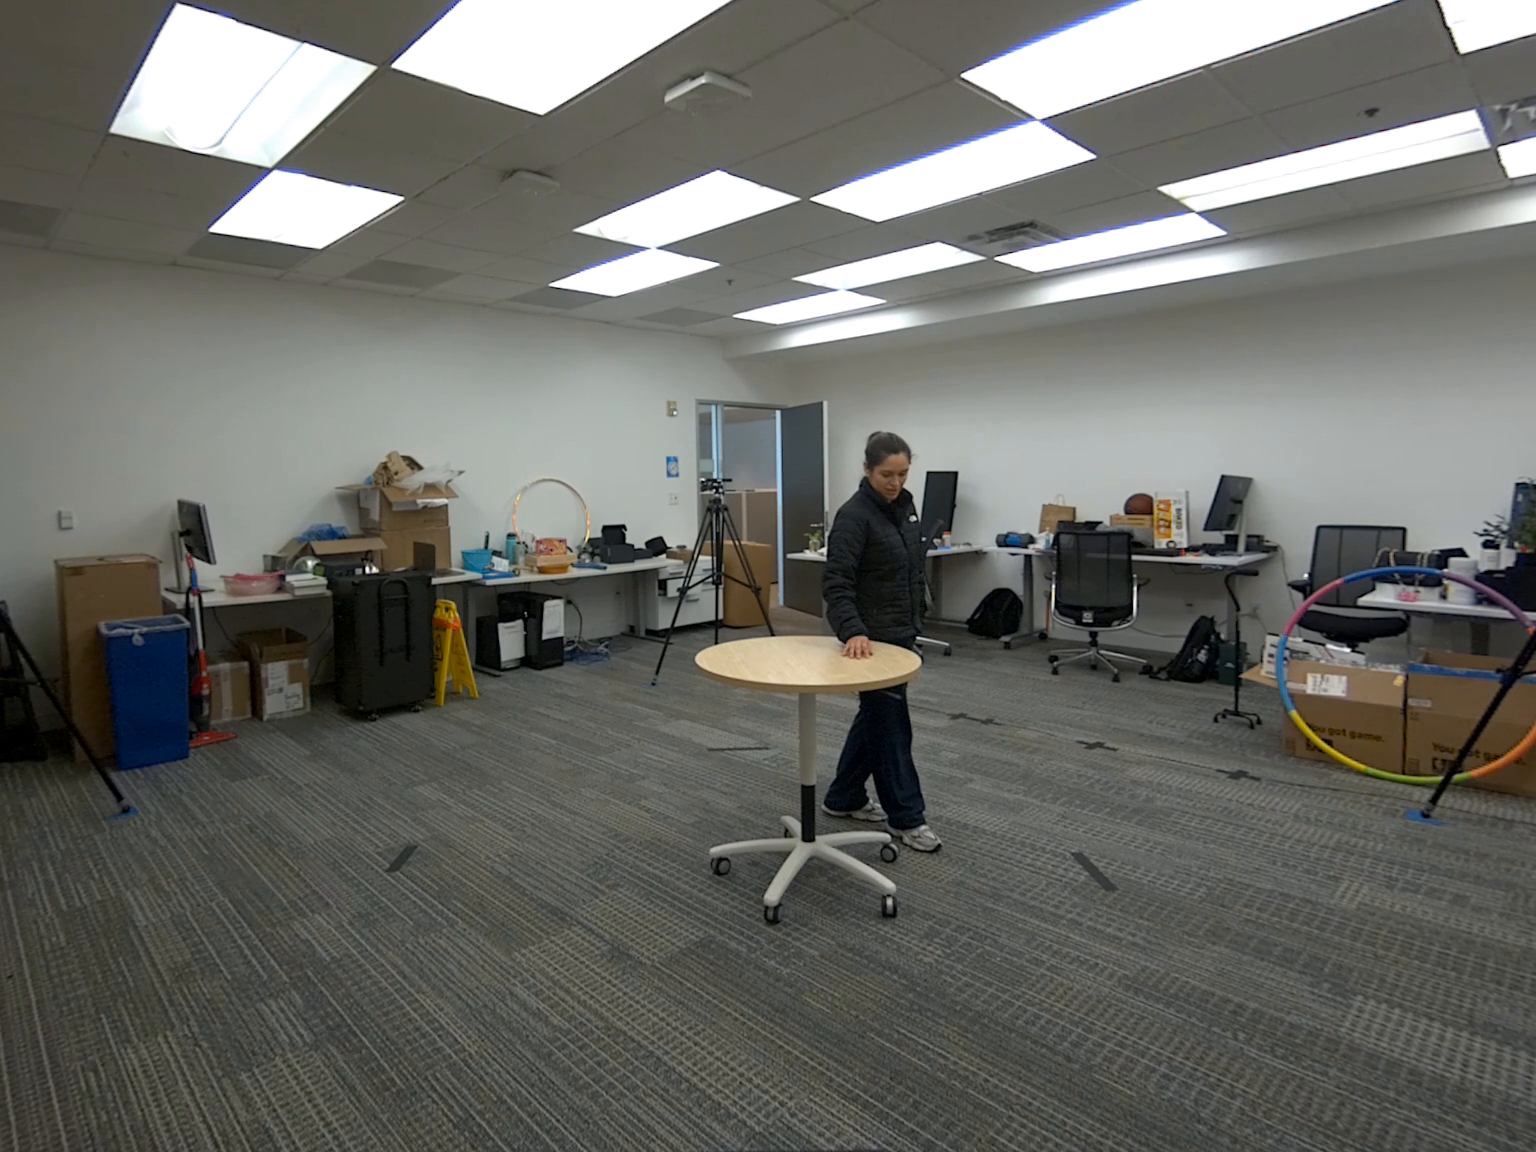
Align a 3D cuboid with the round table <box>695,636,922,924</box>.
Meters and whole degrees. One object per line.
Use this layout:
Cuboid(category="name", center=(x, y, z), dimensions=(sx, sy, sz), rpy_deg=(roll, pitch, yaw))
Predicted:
Cuboid(category="round table", center=(0.129, 0.664, 2.953), dimensions=(0.784, 0.783, 0.789), rpy_deg=(-1, 5, -2))
